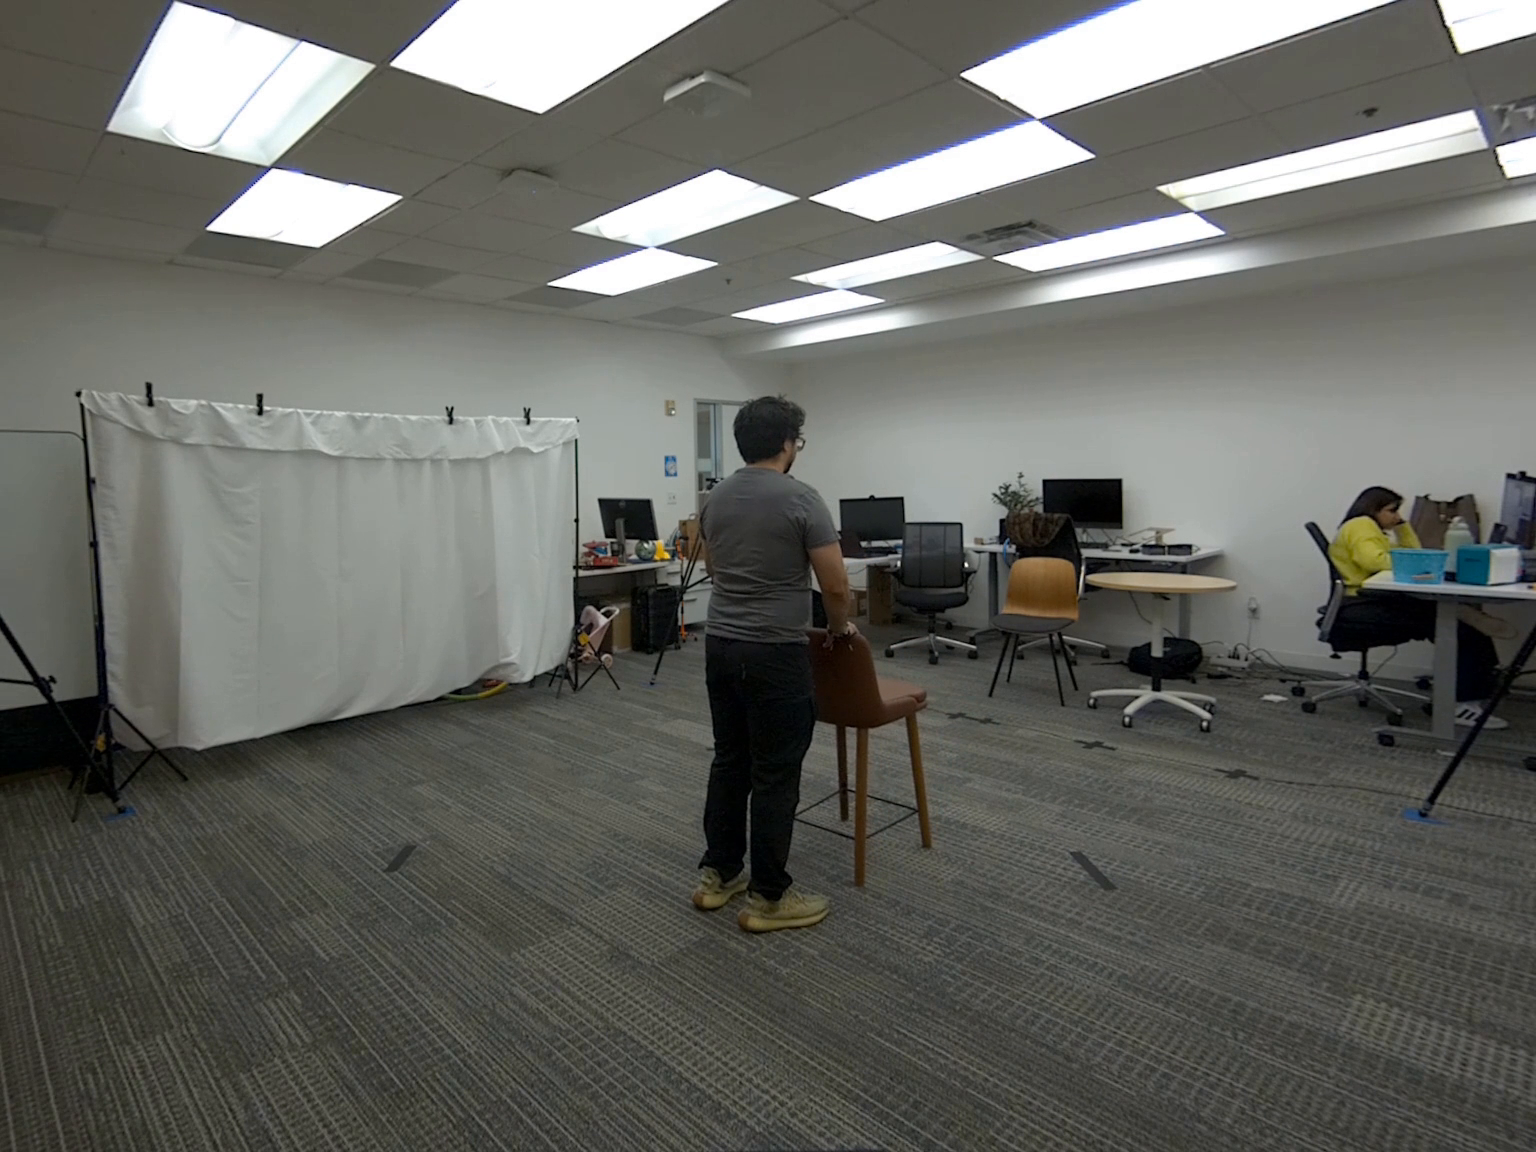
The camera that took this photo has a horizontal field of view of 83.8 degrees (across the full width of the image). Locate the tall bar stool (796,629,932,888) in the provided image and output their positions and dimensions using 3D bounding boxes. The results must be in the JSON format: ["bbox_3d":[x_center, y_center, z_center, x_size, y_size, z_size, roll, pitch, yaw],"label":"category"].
[{"bbox_3d":[0.305,0.591,3.160,0.470,0.885,0.456,3,8,42],"label":"tall bar stool"}]
